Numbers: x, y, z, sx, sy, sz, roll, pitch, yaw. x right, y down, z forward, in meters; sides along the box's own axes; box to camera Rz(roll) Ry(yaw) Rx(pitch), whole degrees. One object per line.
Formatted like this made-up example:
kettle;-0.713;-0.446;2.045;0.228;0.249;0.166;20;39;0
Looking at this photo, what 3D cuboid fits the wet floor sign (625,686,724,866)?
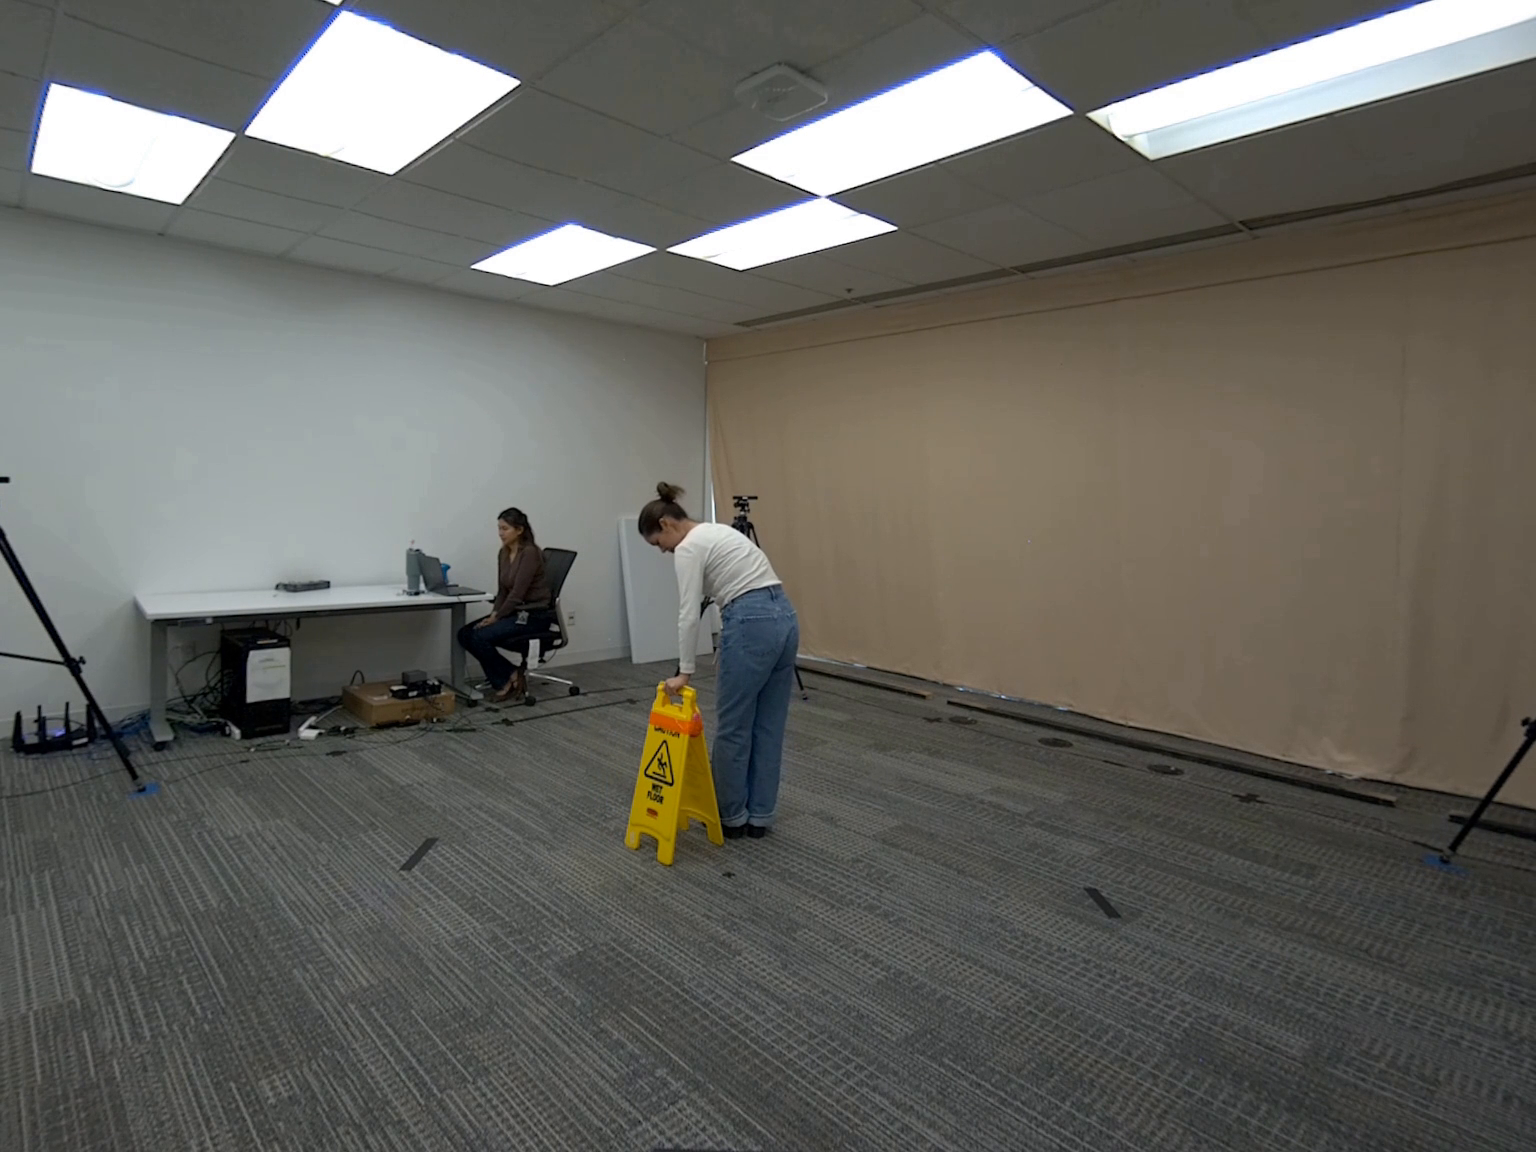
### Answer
wet floor sign;-0.375;0.753;3.349;0.289;0.645;0.283;4;3;42
